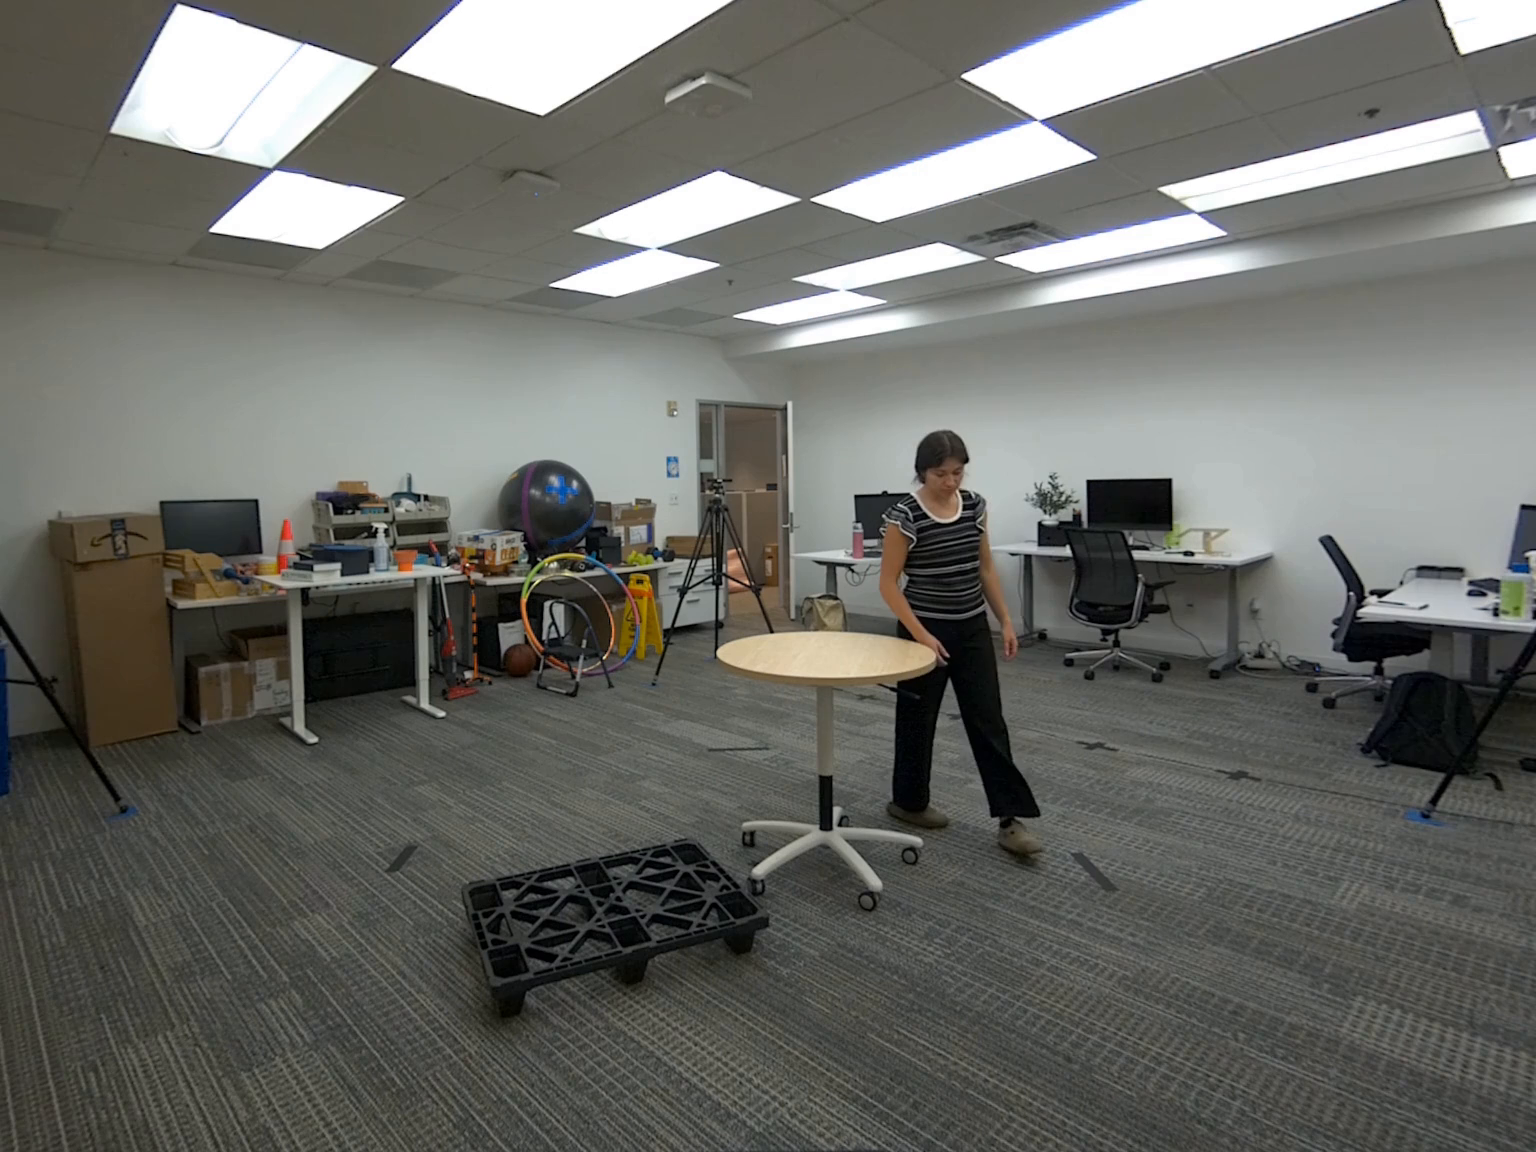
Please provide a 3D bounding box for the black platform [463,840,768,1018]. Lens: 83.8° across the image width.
[{"bbox_3d":[-0.477,1.048,2.591,0.789,0.143,0.621,-4,7,-25],"label":"black platform"}]
